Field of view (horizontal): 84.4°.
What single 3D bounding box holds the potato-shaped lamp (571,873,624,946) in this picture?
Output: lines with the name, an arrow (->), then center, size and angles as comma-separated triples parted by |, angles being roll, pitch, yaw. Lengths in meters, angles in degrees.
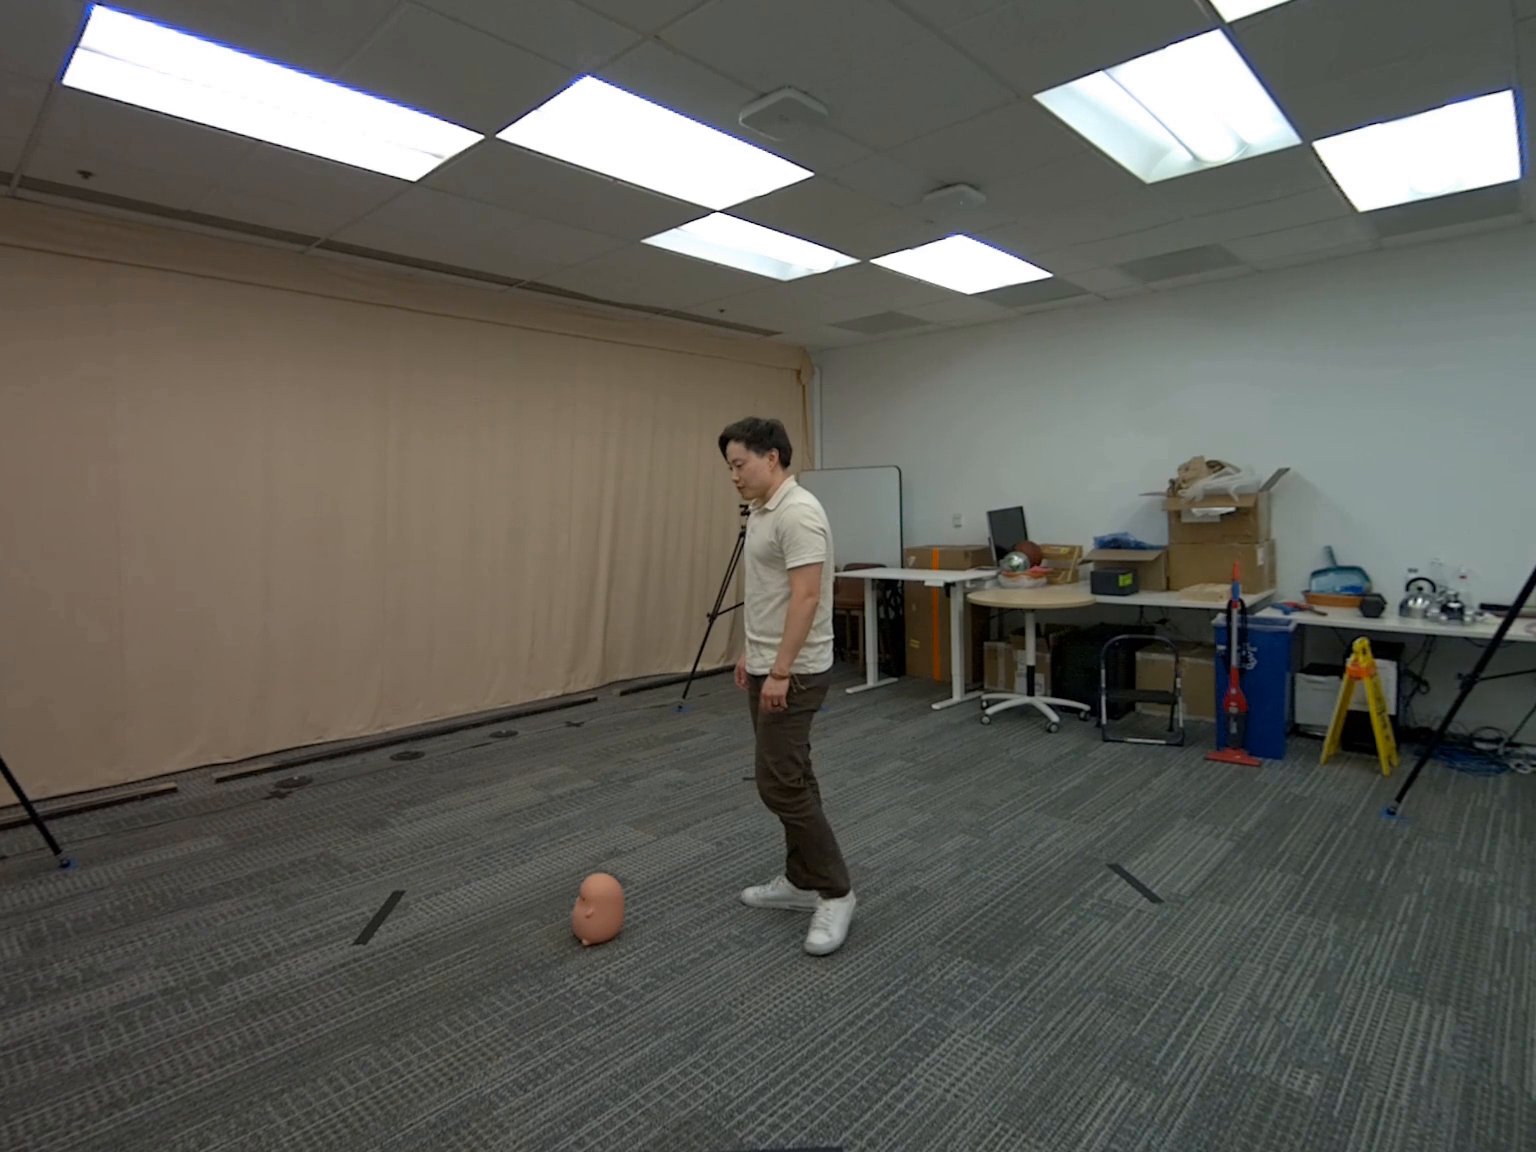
potato-shaped lamp -> -0.550, 1.074, 2.733 | 0.167, 0.198, 0.169 | -4, 2, -28
